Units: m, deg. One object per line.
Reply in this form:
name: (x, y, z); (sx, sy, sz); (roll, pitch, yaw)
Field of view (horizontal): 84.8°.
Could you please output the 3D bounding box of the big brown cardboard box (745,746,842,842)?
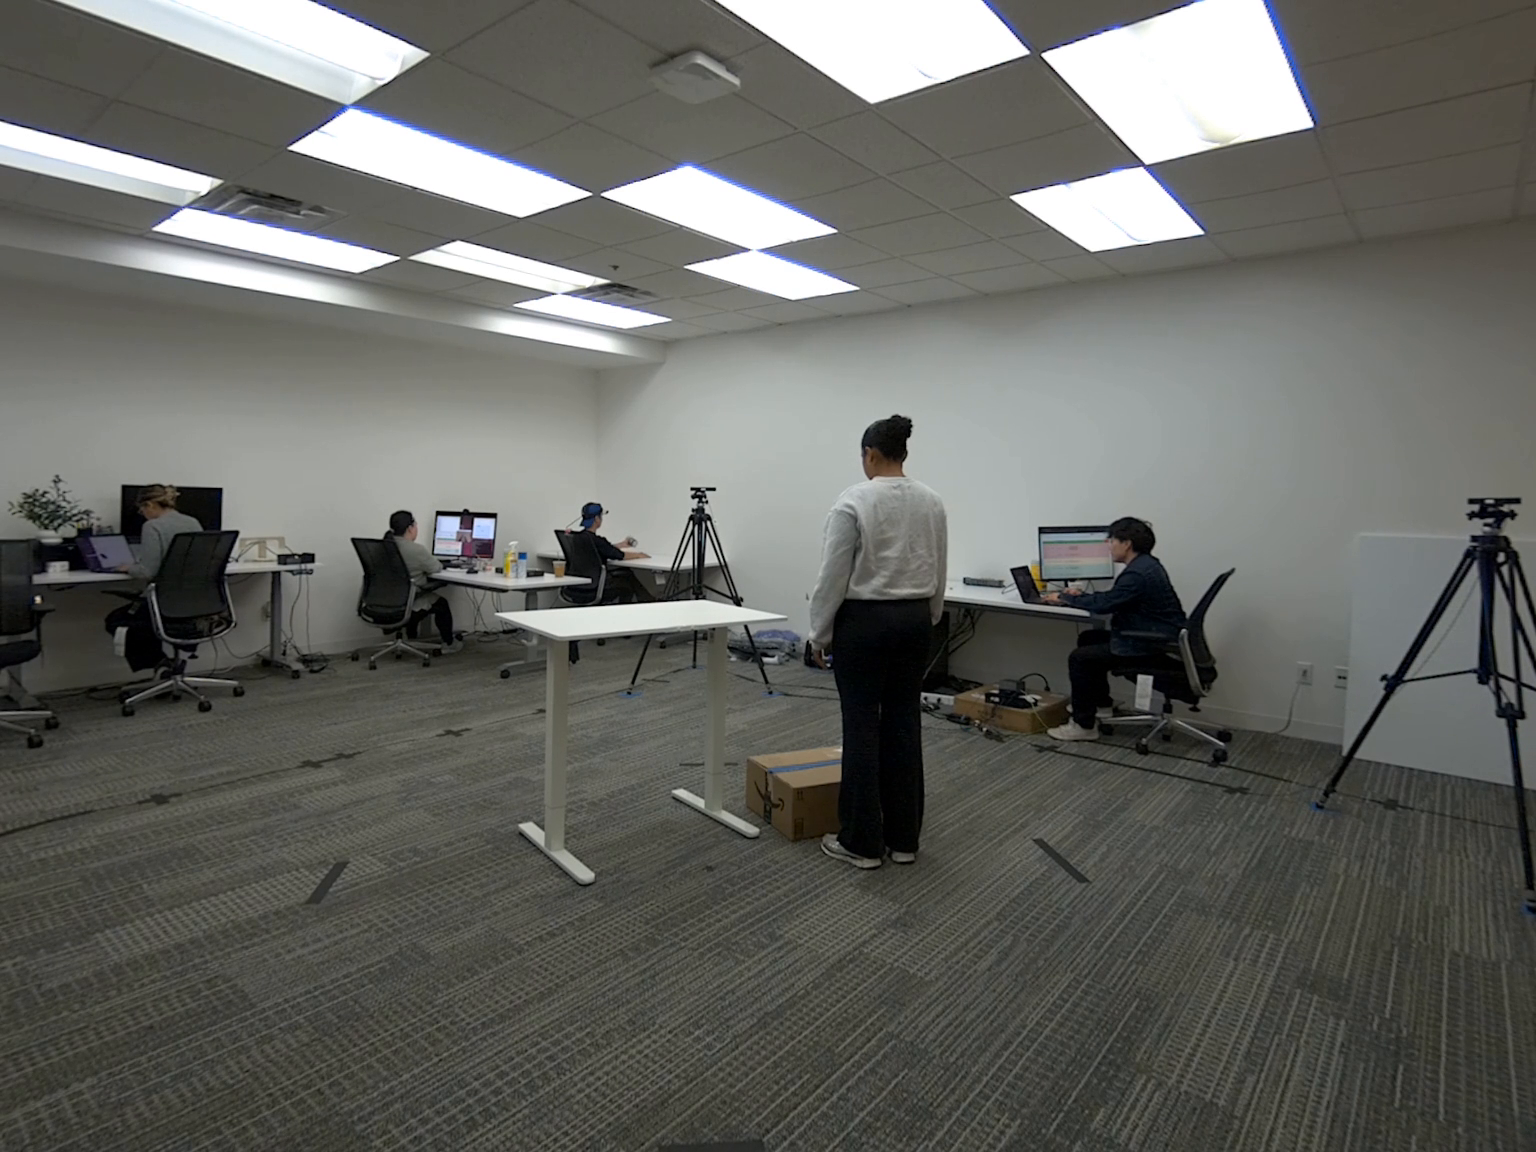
big brown cardboard box: (0.240, 0.910, 3.665); (0.575, 0.232, 0.430); (-3, 6, -27)
